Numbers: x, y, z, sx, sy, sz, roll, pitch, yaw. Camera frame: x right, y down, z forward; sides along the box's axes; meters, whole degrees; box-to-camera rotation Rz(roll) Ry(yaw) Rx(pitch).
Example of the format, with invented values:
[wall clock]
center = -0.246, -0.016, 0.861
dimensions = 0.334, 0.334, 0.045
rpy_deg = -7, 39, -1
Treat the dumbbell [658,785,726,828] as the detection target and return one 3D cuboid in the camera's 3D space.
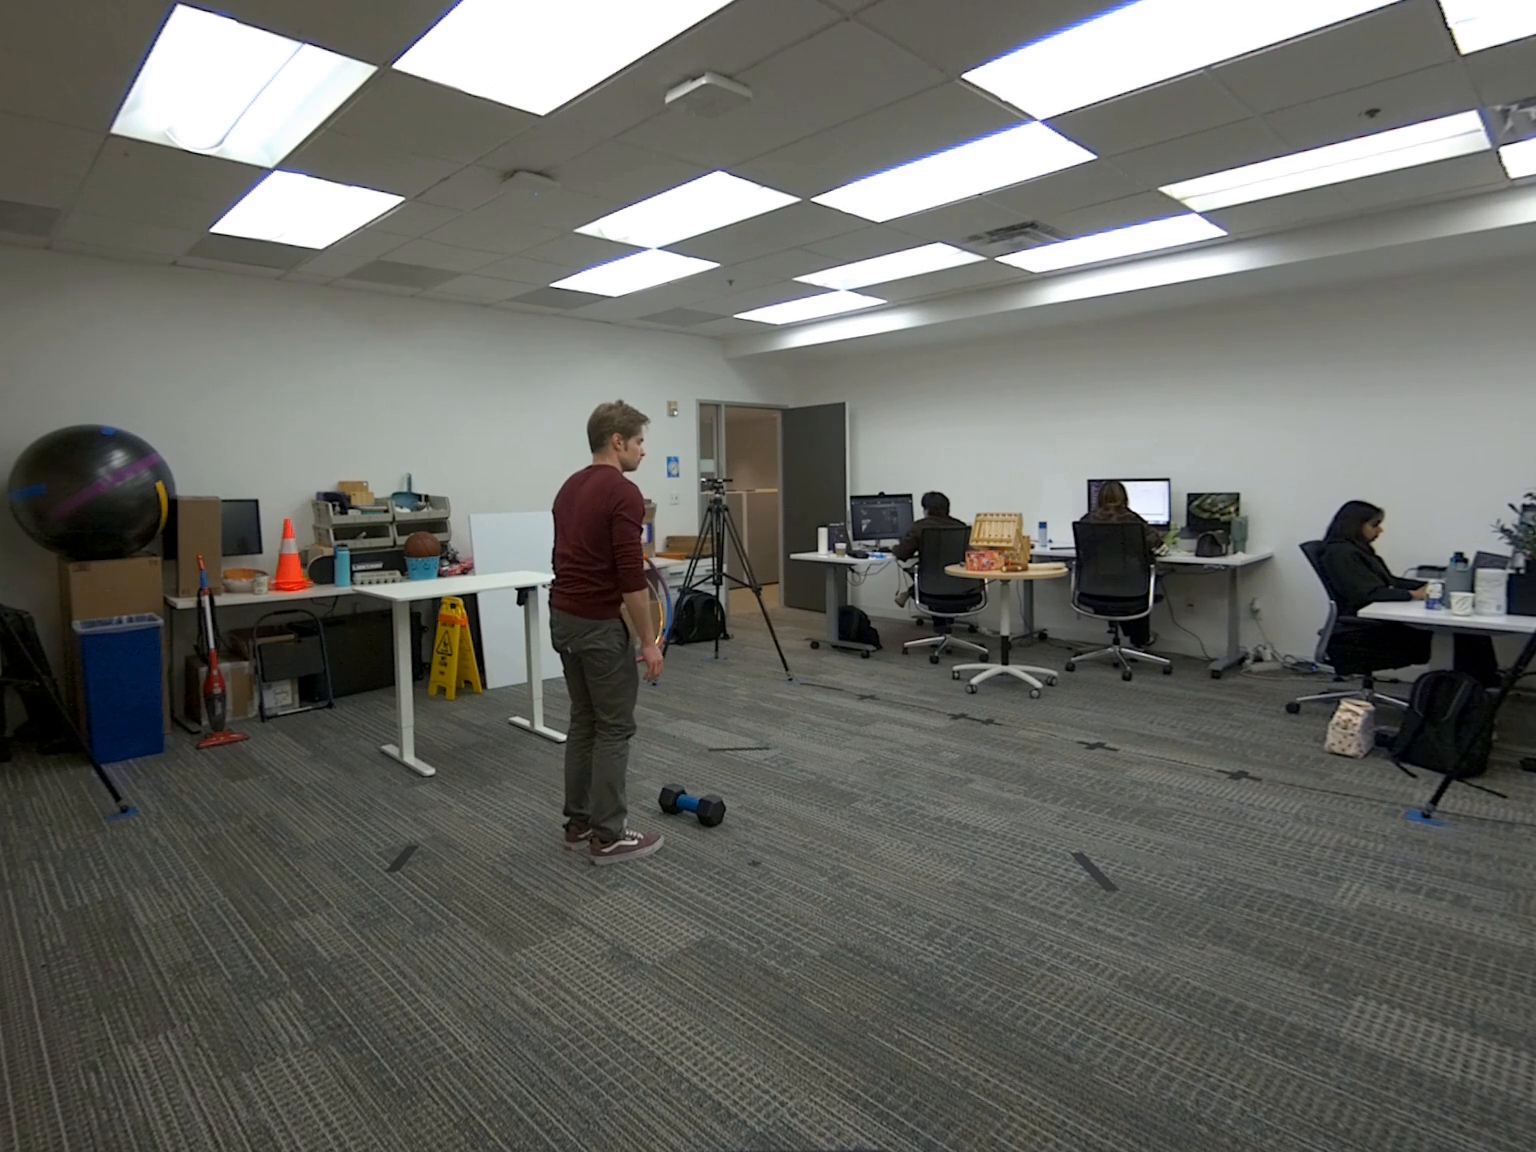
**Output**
[dumbbell]
center = -0.314, 0.945, 3.539
dimensions = 0.302, 0.119, 0.108
rpy_deg = 3, 35, 39
